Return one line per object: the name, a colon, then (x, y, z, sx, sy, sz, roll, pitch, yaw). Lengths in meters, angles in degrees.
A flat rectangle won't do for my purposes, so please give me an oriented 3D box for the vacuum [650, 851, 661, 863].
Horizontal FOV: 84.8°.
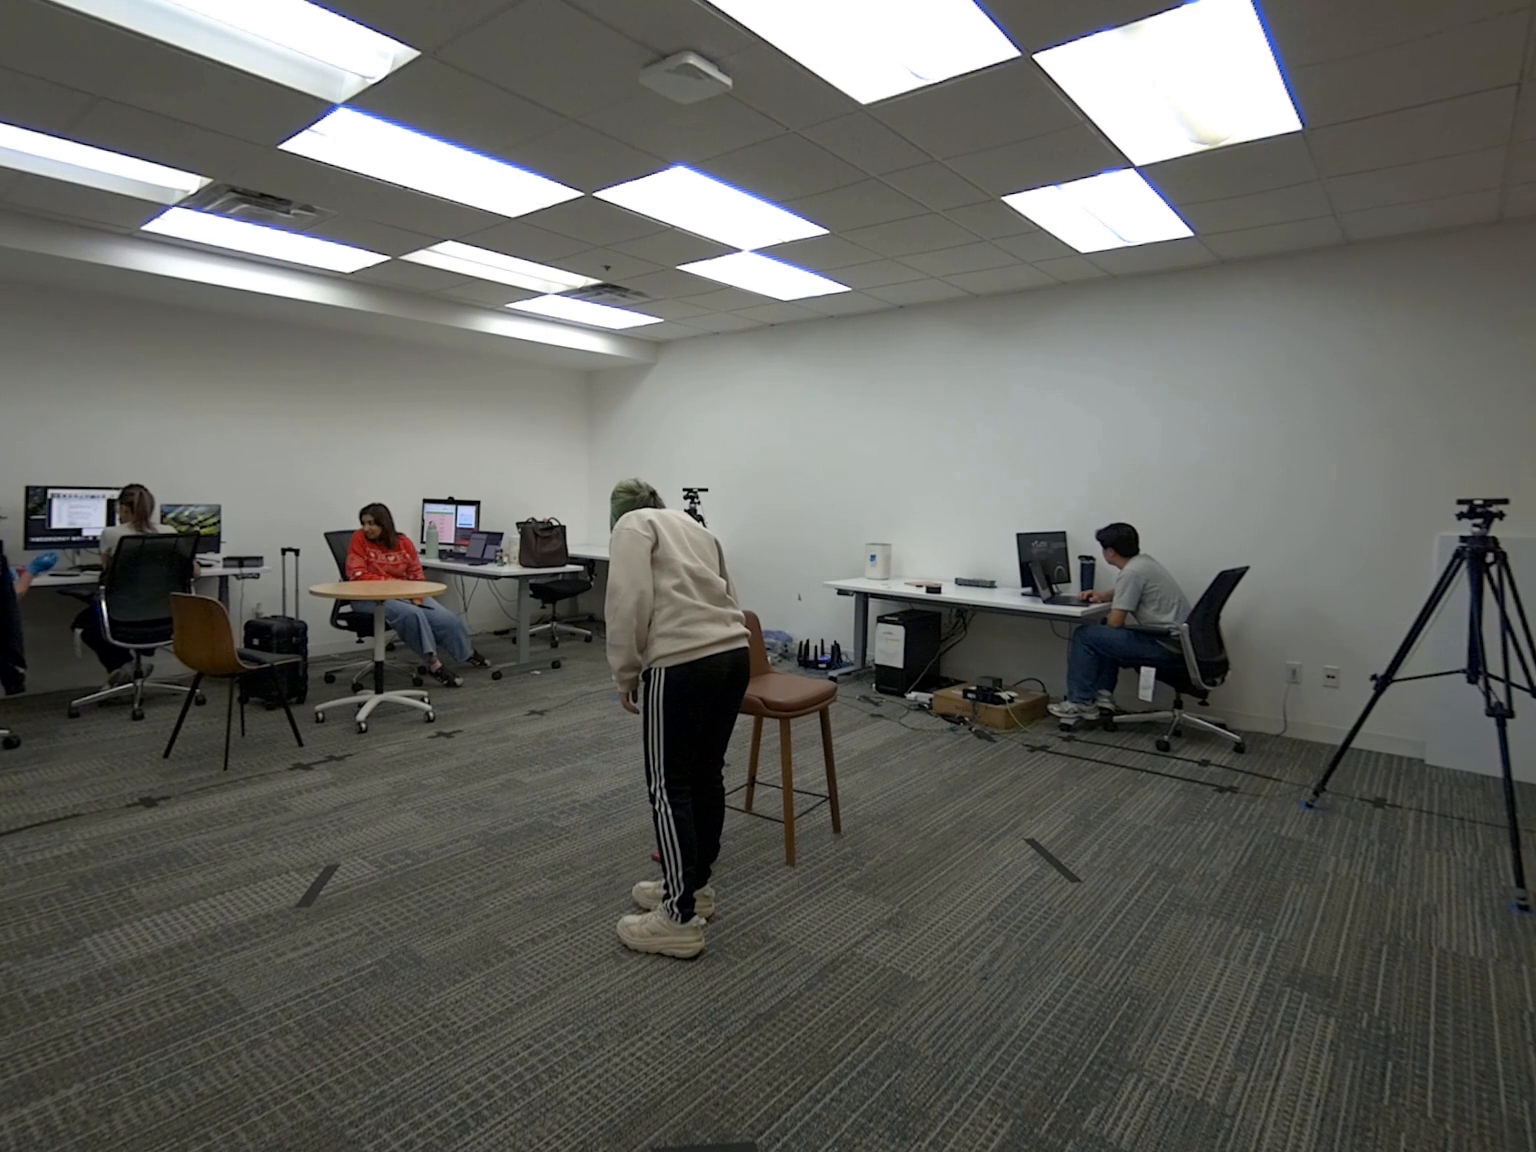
vacuum: (-0.226, 0.551, 3.253, 0.260, 1.059, 0.138, -2, -15, 40)
